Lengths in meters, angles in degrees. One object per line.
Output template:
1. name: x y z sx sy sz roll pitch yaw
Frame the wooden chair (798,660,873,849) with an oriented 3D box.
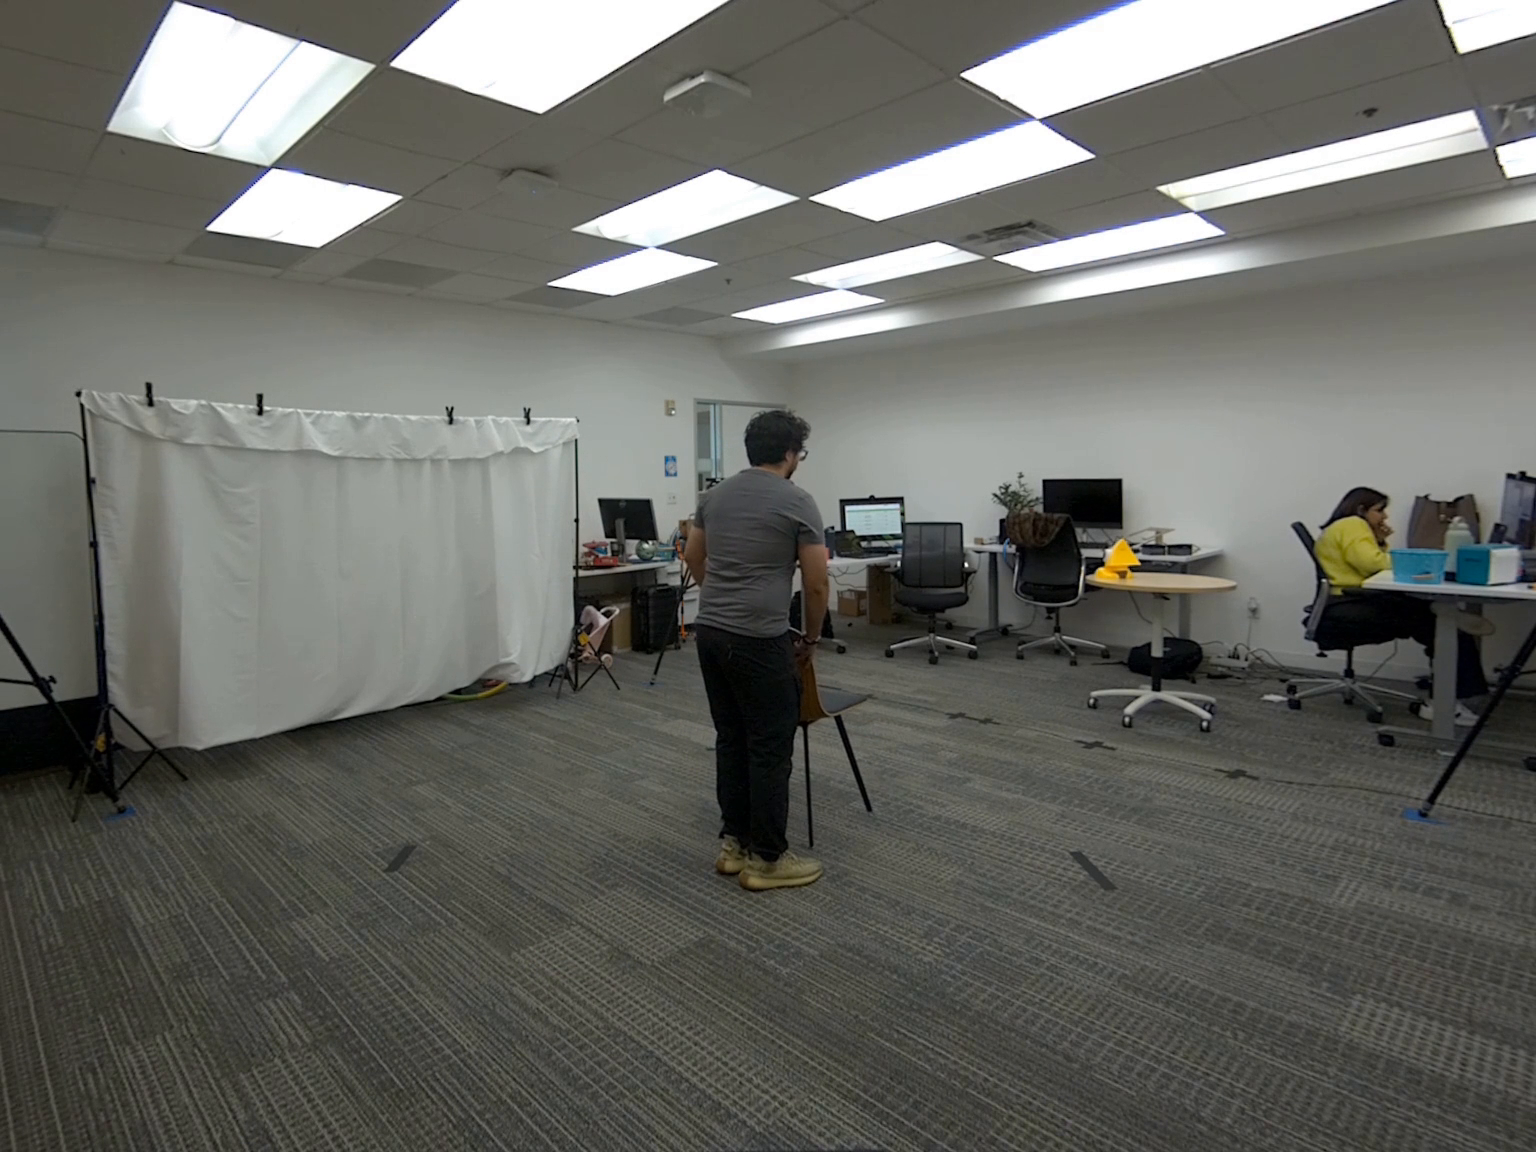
1. wooden chair: 0.120 0.562 3.514 0.492 0.871 0.511 2 9 38
